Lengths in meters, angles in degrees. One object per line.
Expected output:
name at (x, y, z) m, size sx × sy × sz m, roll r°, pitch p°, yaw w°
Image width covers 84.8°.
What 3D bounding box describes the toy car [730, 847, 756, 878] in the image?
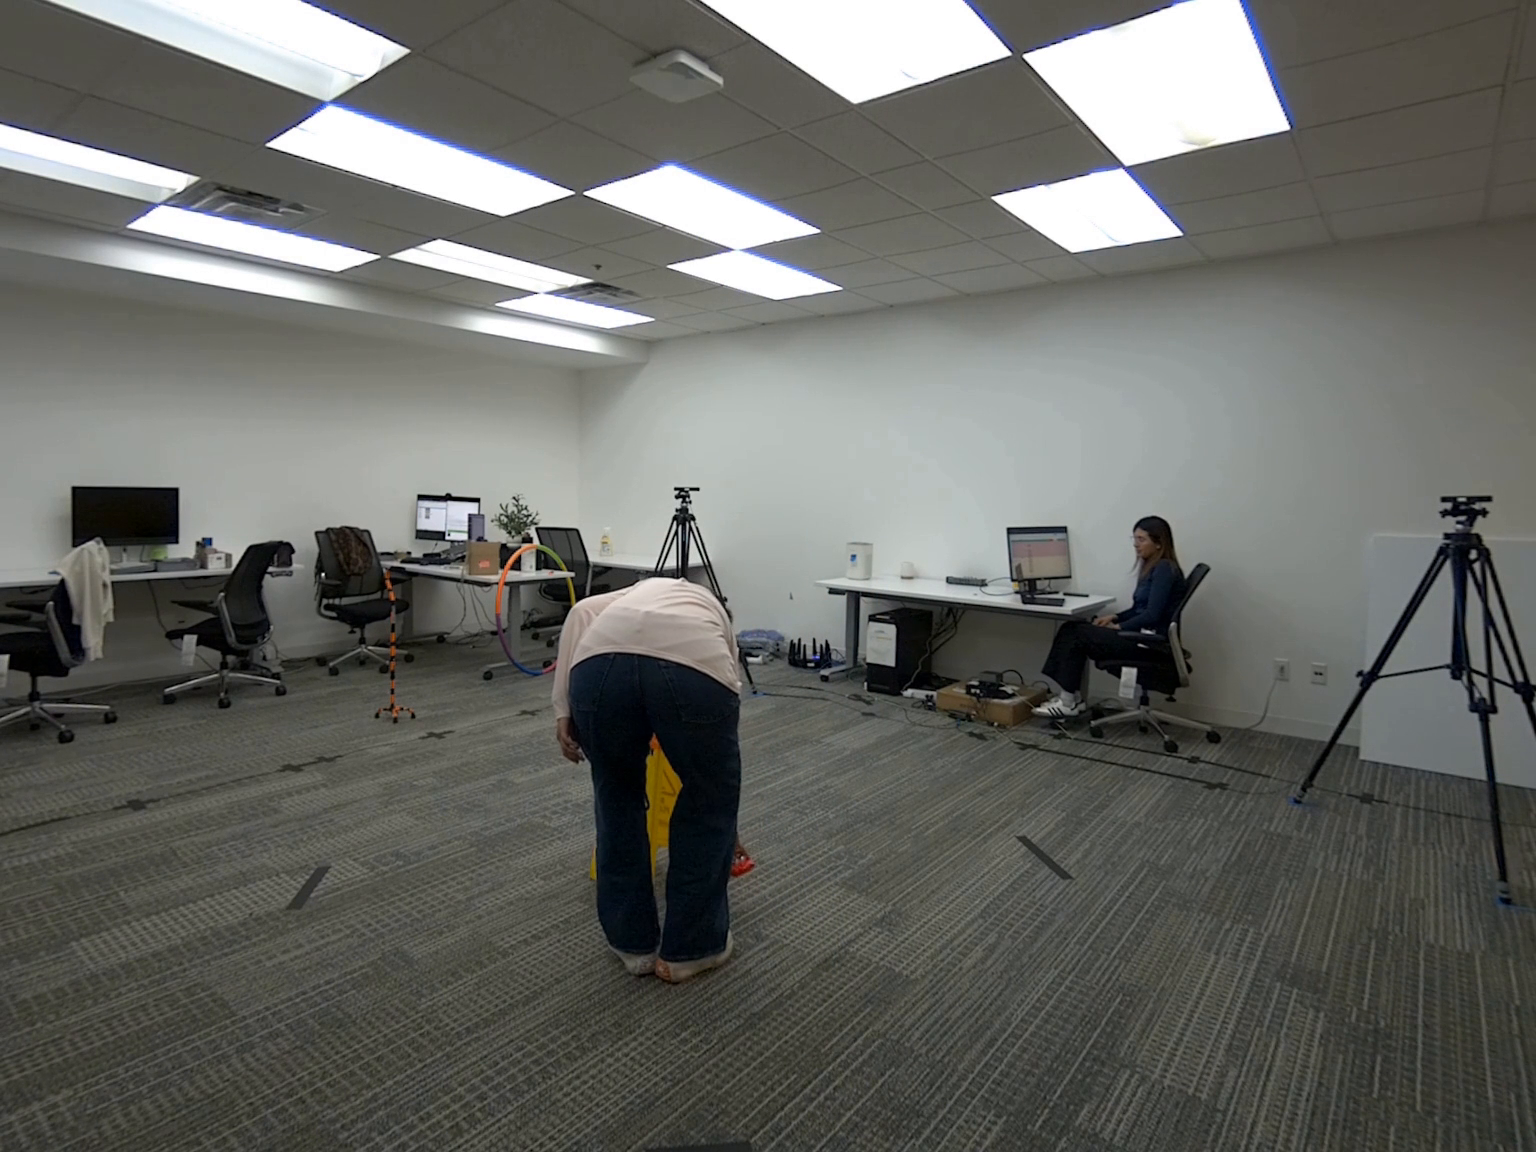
toy car at (-0.164, 0.942, 2.811) m, size 0.261 × 0.083 × 0.126 m, roll -8°, pitch -3°, yaw 41°
